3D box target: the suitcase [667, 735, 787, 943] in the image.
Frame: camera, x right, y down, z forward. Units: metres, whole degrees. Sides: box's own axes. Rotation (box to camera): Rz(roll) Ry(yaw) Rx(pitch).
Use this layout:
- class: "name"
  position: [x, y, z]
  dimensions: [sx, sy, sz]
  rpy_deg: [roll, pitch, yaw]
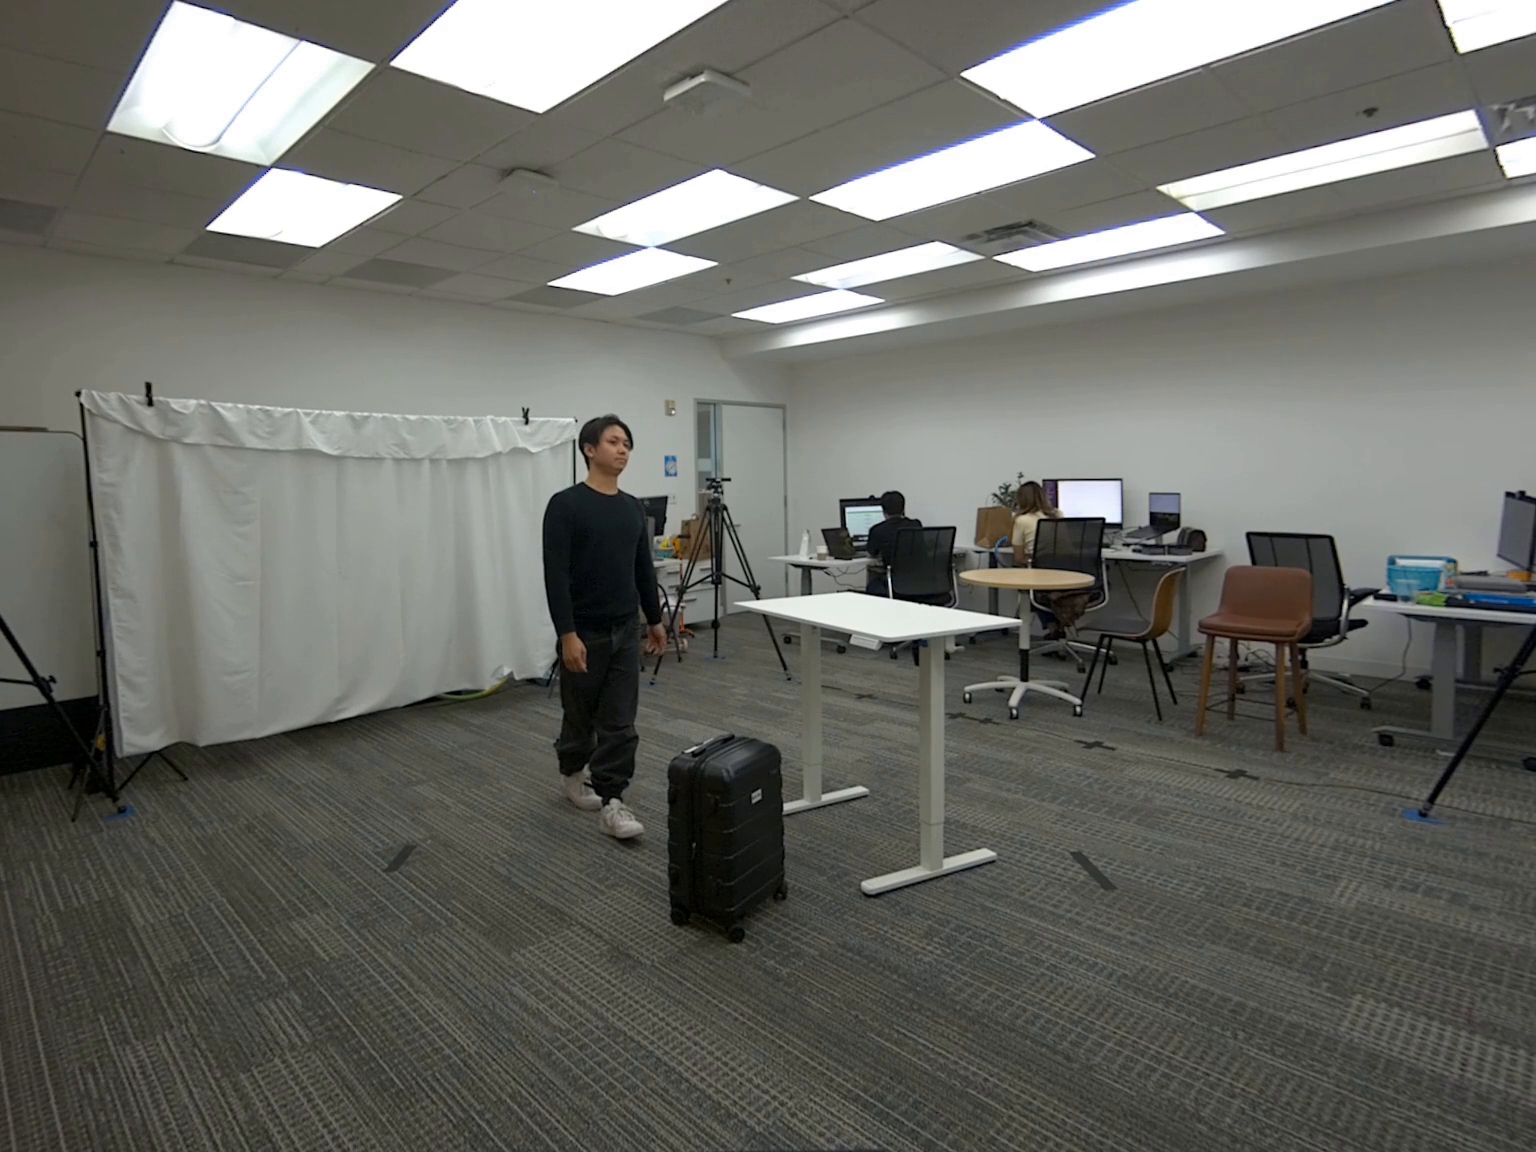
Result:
- class: "suitcase"
  position: [-0.128, 0.807, 2.746]
  dimensions: [0.255, 0.547, 0.367]
  rpy_deg: [2, 6, 33]
